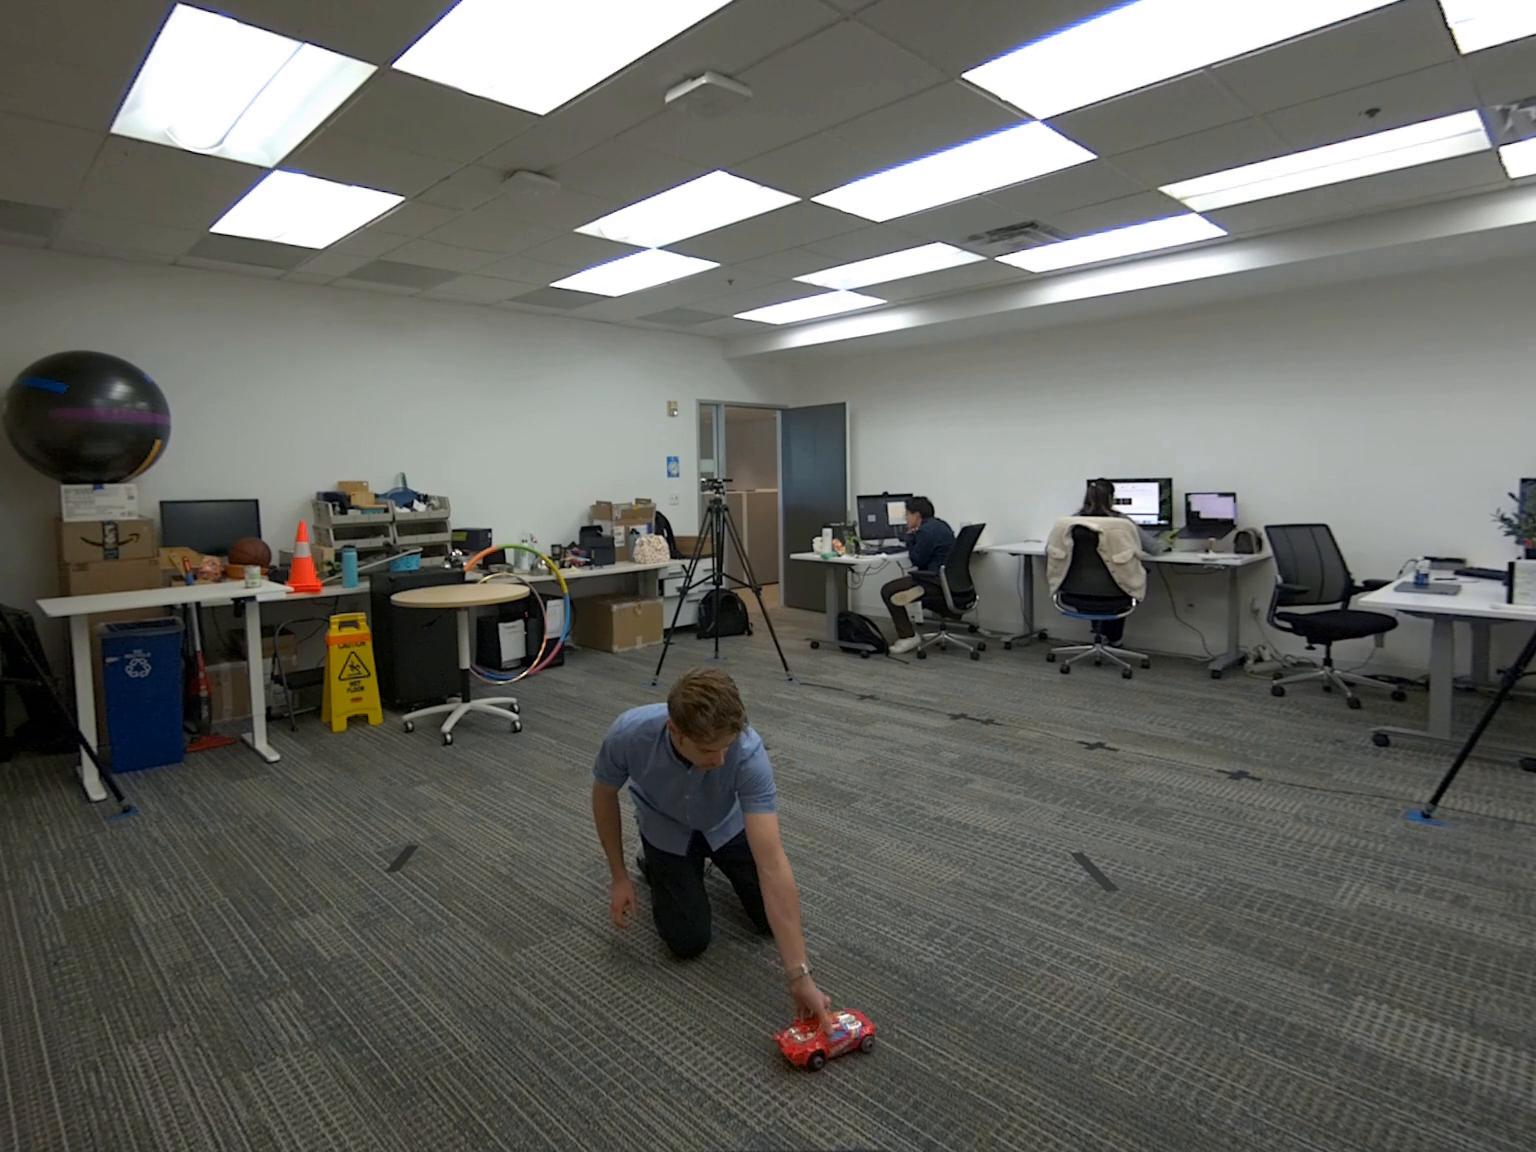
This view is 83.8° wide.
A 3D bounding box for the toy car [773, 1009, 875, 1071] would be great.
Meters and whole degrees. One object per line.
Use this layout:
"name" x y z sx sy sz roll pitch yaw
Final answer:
"toy car" 0.141 1.130 2.092 0.248 0.083 0.134 7 2 -26
